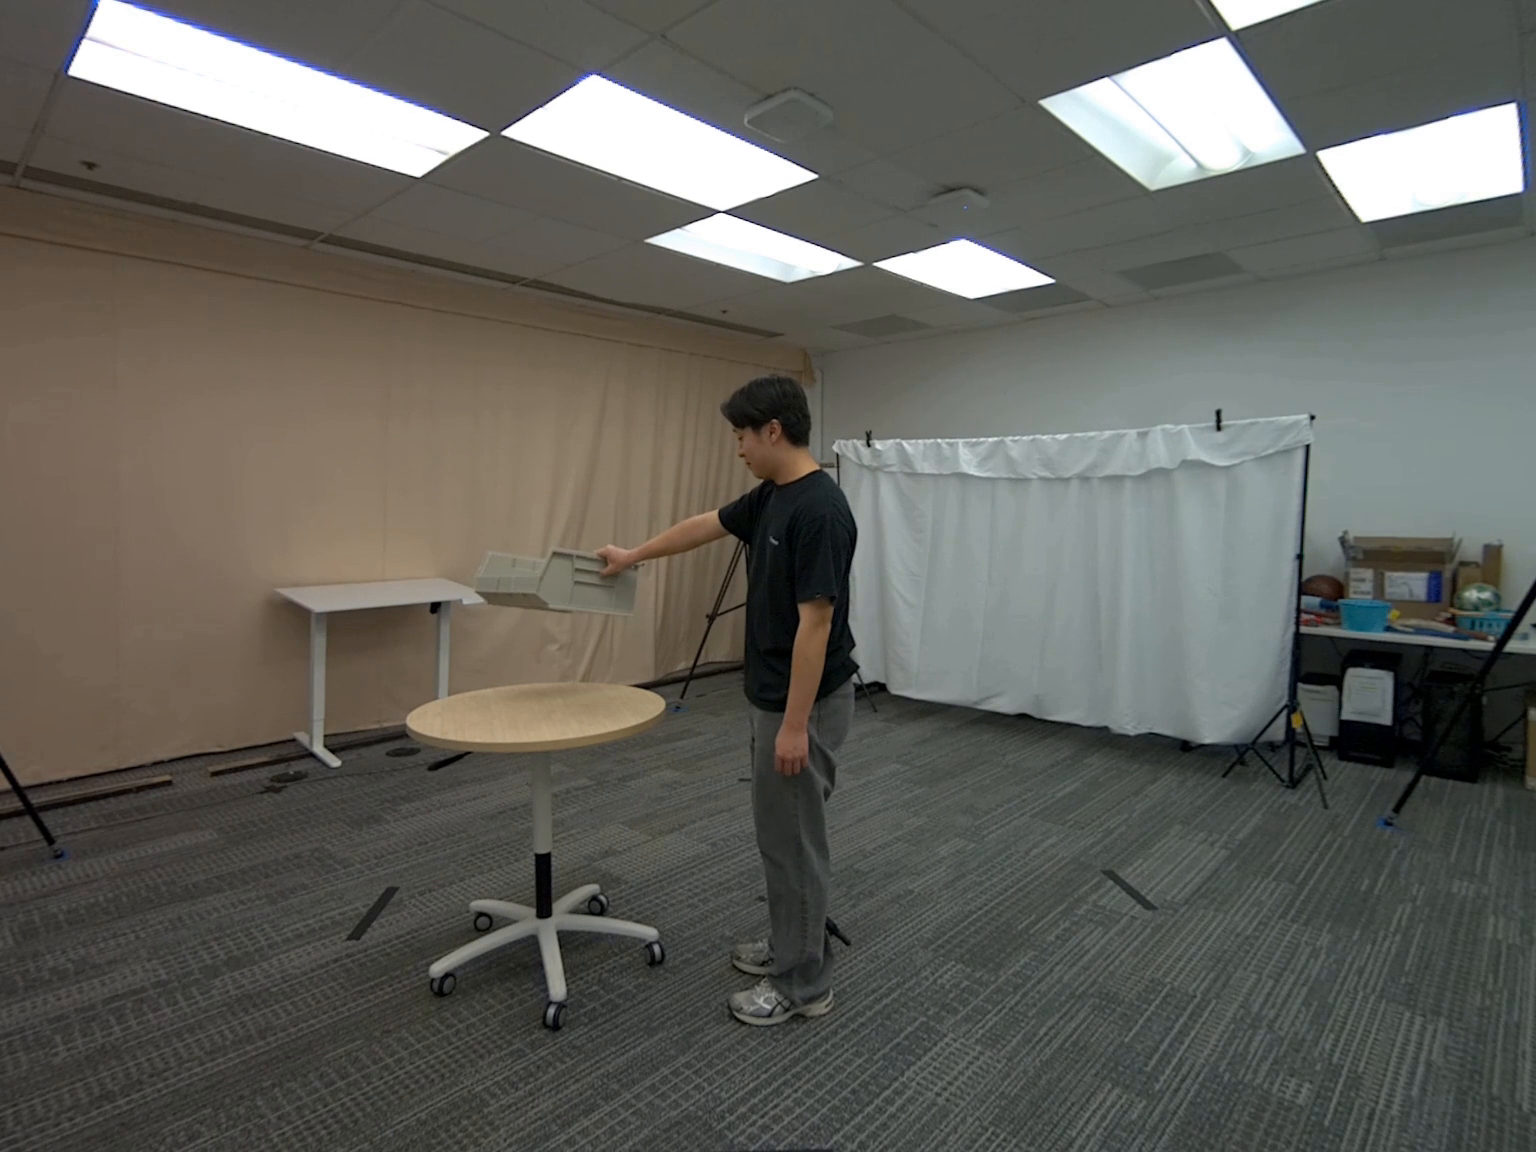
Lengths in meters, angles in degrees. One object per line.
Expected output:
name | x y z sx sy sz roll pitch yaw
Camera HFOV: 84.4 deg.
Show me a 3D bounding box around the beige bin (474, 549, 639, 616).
beige bin | -0.684 0.023 2.734 0.364 0.189 0.435 10 -8 -42
